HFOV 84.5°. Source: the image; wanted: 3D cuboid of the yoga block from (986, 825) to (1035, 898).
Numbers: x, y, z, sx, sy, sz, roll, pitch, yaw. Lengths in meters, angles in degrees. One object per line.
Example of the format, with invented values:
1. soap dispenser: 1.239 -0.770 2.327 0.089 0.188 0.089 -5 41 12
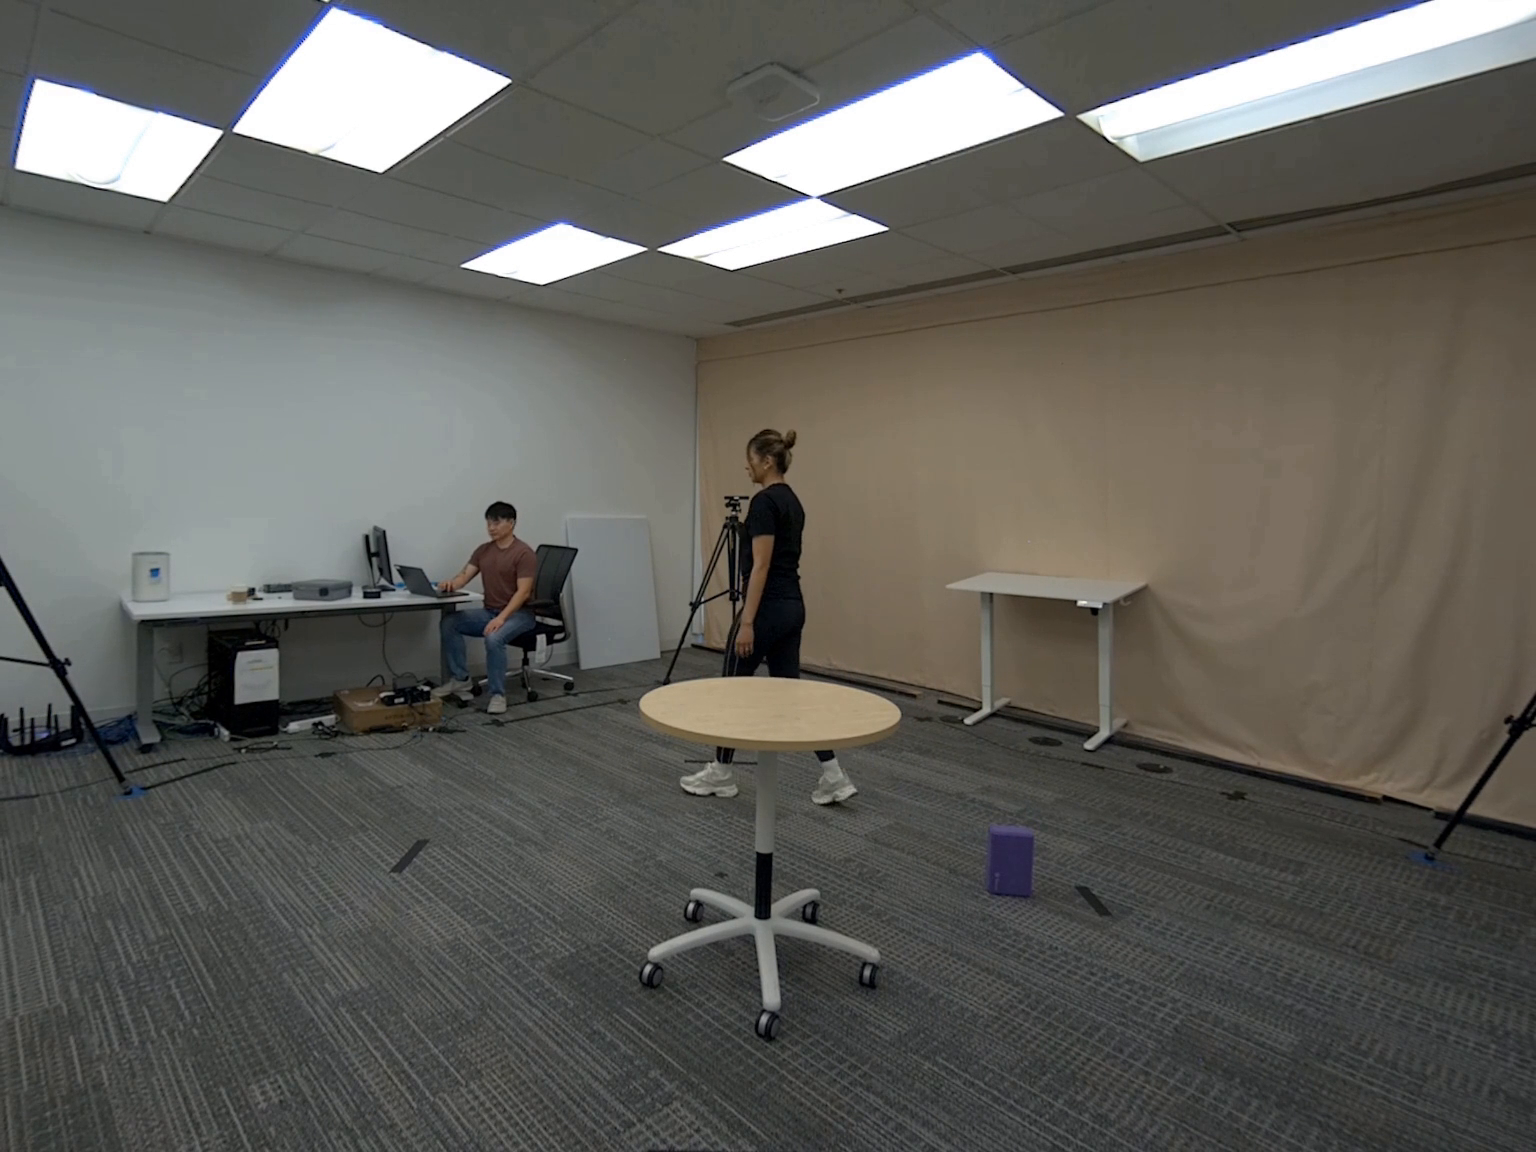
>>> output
1. yoga block: 0.861 1.020 3.023 0.150 0.229 0.076 3 2 7
